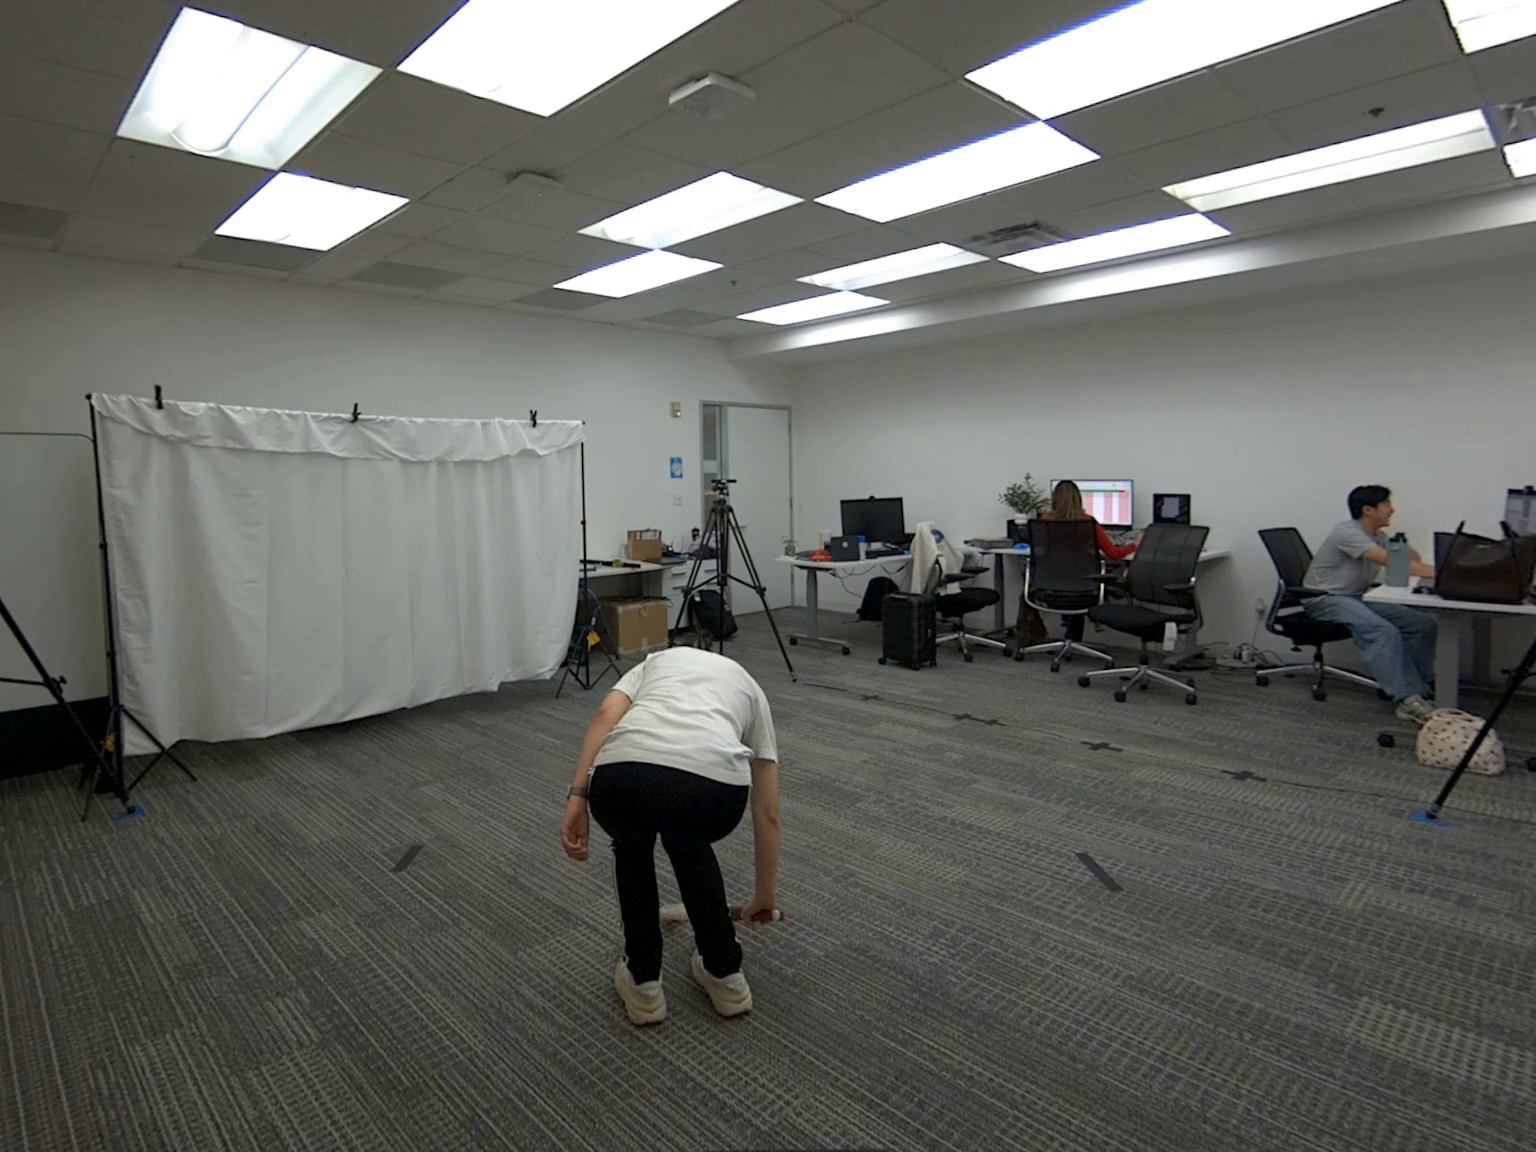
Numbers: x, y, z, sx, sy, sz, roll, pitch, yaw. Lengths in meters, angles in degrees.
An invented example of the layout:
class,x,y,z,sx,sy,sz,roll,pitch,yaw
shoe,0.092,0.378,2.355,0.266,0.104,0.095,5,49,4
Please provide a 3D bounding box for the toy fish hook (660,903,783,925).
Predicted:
class,x,y,z,sx,sy,sz,roll,pitch,yaw
toy fish hook,-0.115,1.019,2.588,0.517,0.049,0.217,-15,-15,41
